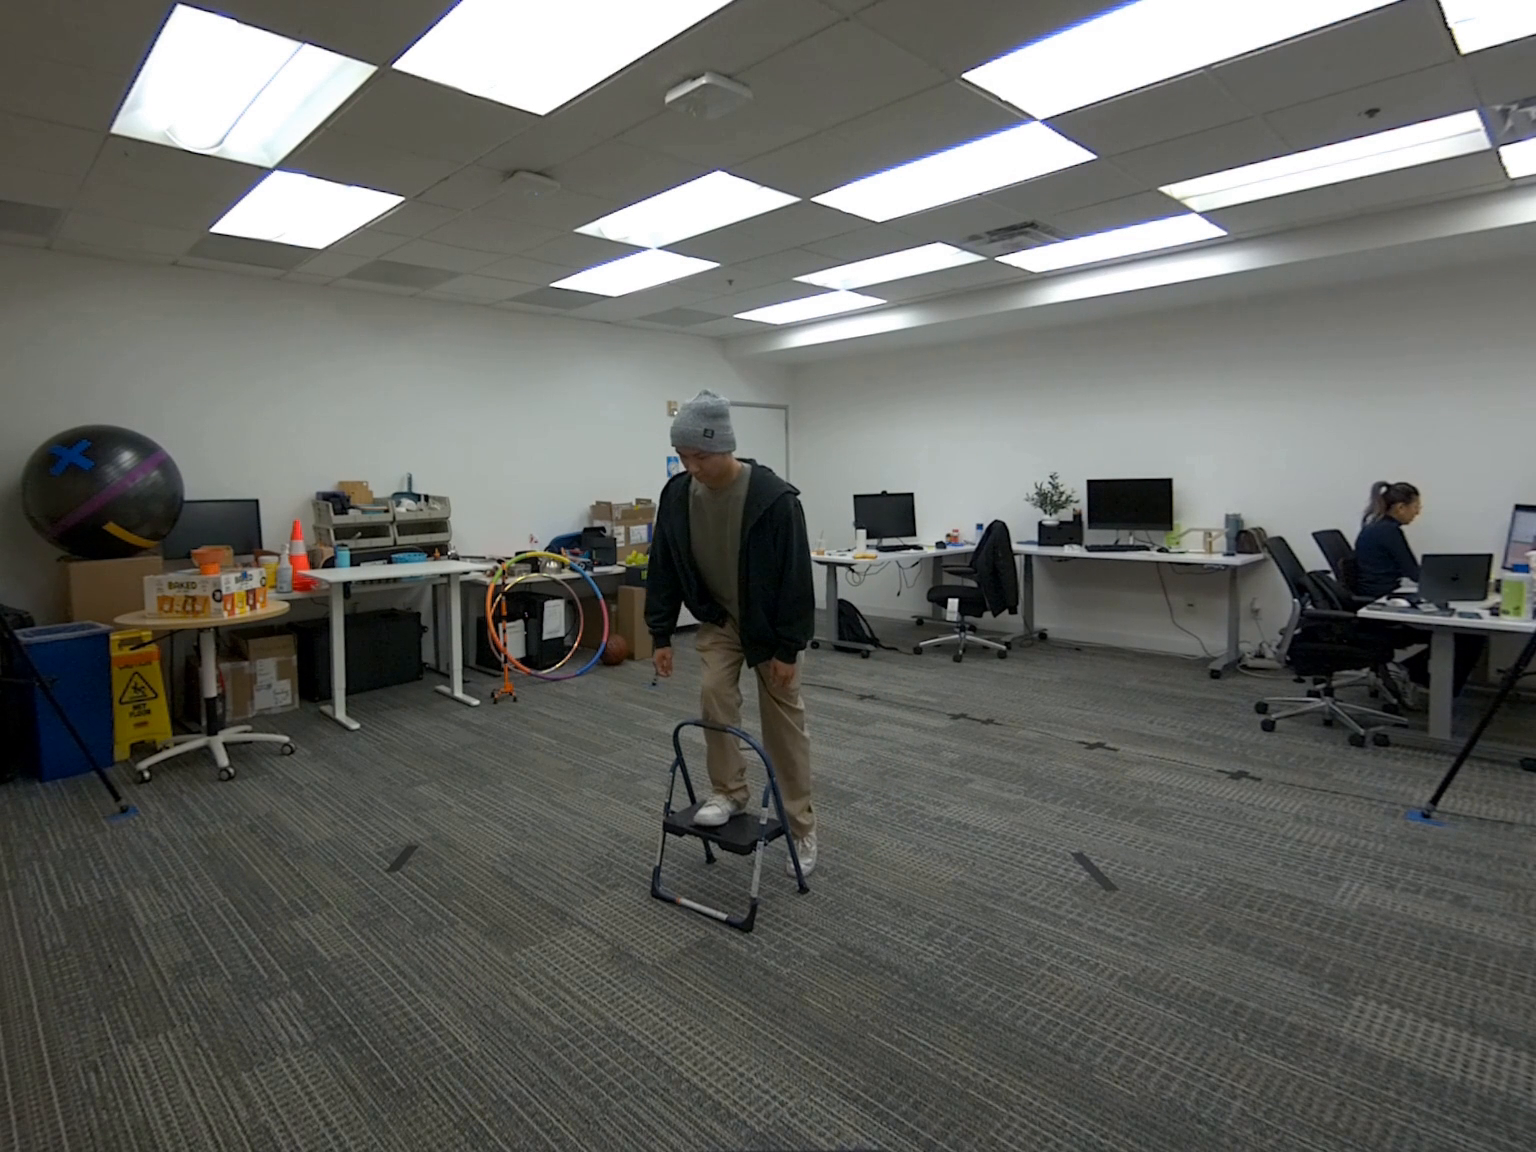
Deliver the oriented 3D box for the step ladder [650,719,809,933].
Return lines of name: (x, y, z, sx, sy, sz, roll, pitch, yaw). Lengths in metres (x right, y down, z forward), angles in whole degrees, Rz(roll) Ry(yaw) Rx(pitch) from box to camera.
step ladder: (-0.138, 0.775, 2.862, 0.443, 0.604, 0.341, 2, 5, 35)
